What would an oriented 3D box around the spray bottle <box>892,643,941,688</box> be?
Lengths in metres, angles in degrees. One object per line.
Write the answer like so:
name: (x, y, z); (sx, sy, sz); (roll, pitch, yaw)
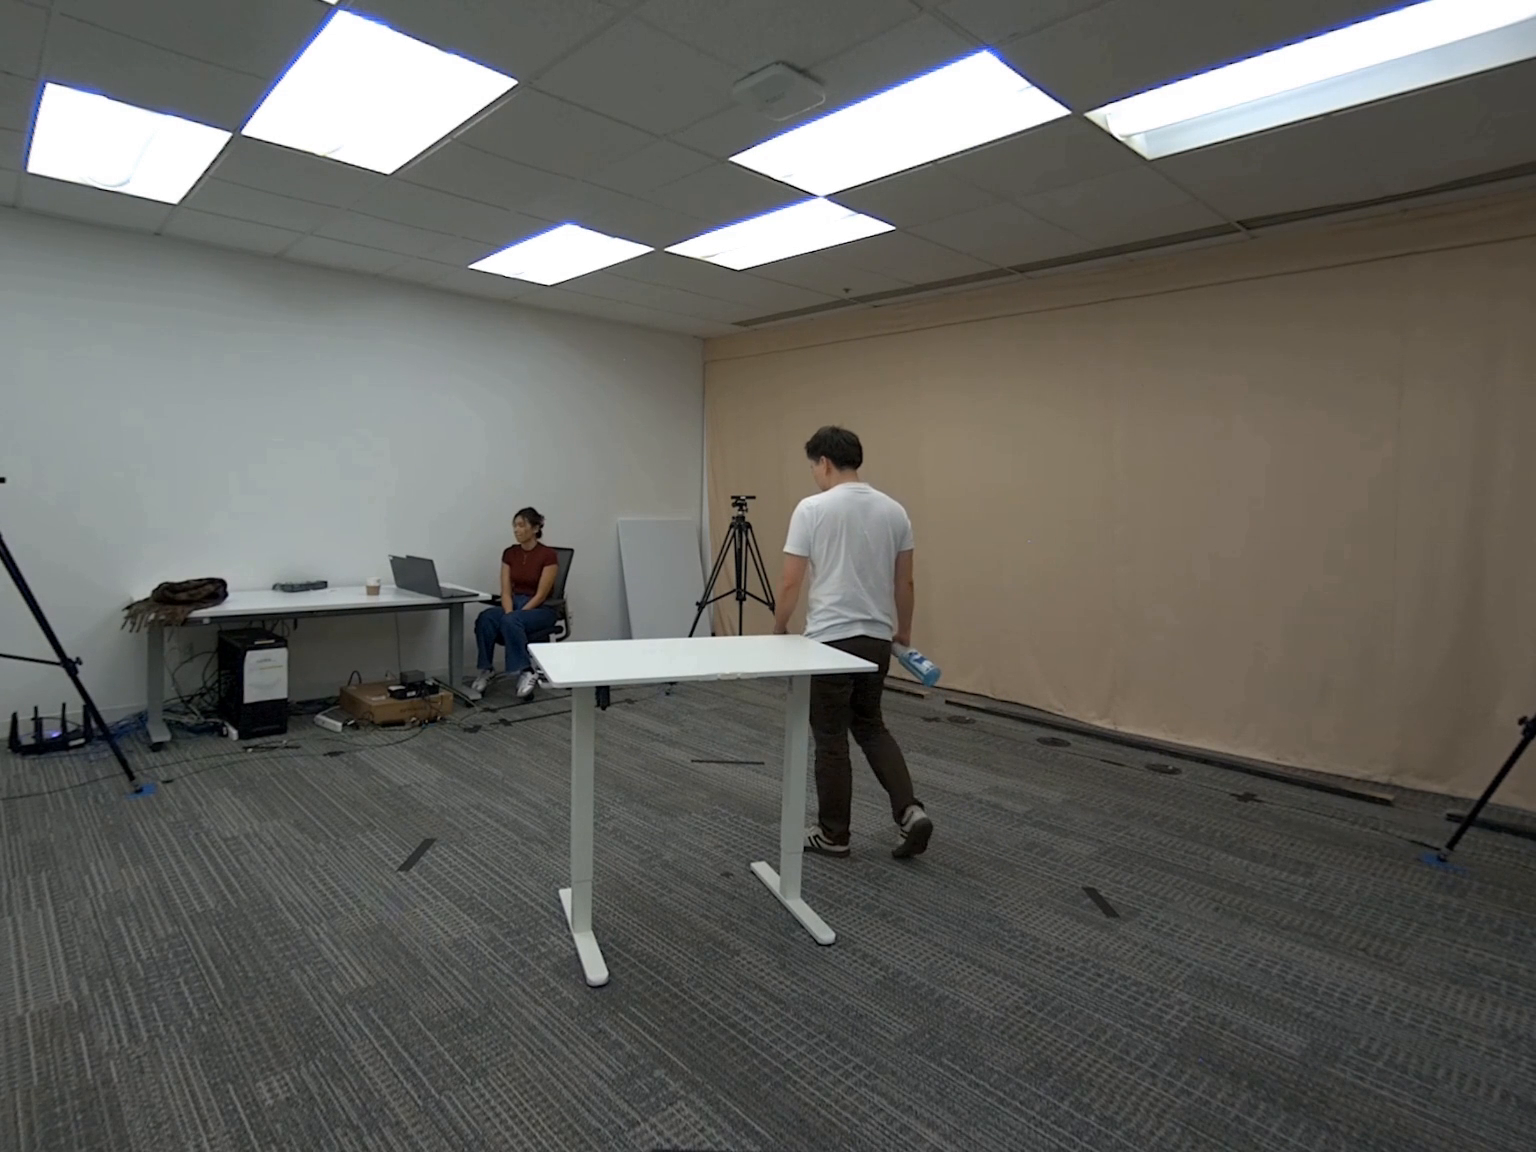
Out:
spray bottle: (0.557, 0.326, 3.424); (0.088, 0.086, 0.307); (6, 25, -43)
